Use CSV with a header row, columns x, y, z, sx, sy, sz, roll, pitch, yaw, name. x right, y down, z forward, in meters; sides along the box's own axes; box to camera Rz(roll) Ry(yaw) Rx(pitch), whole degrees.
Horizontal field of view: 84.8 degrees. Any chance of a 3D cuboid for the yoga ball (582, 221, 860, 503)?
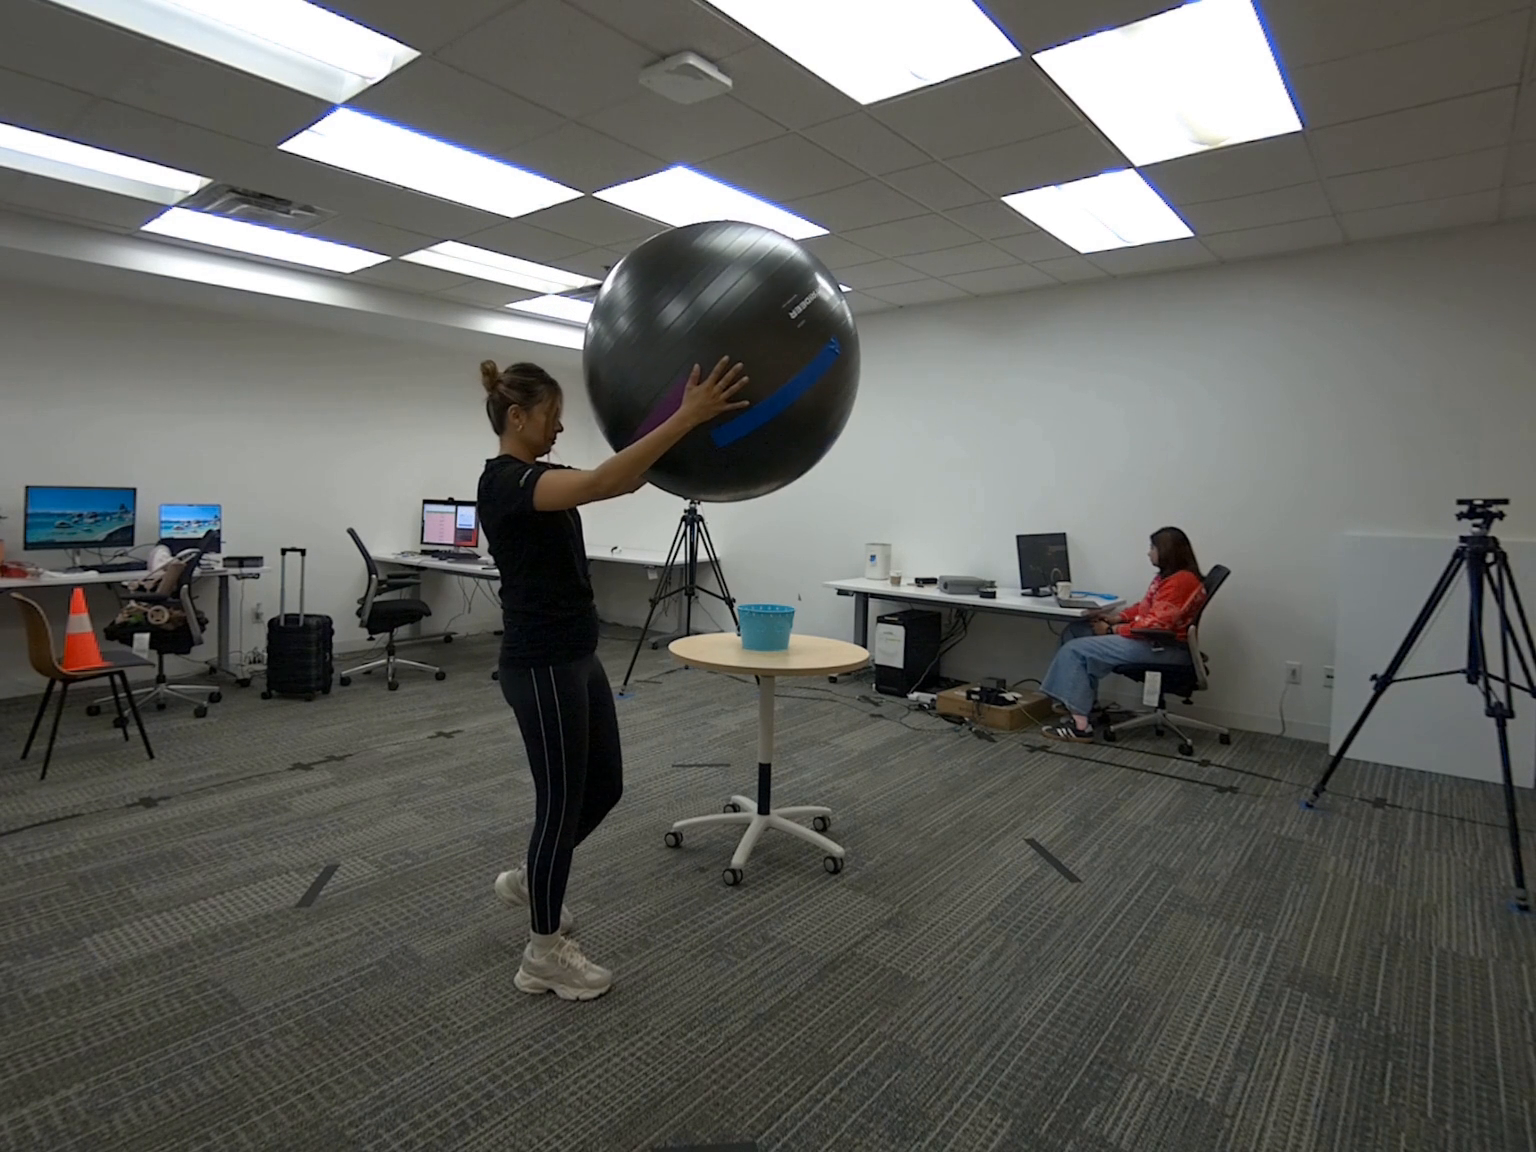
x,y,z,sx,sy,sz,roll,pitch,yaw,name
-0.133,-0.577,2.337,0.757,0.756,0.762,1,4,-2,yoga ball
